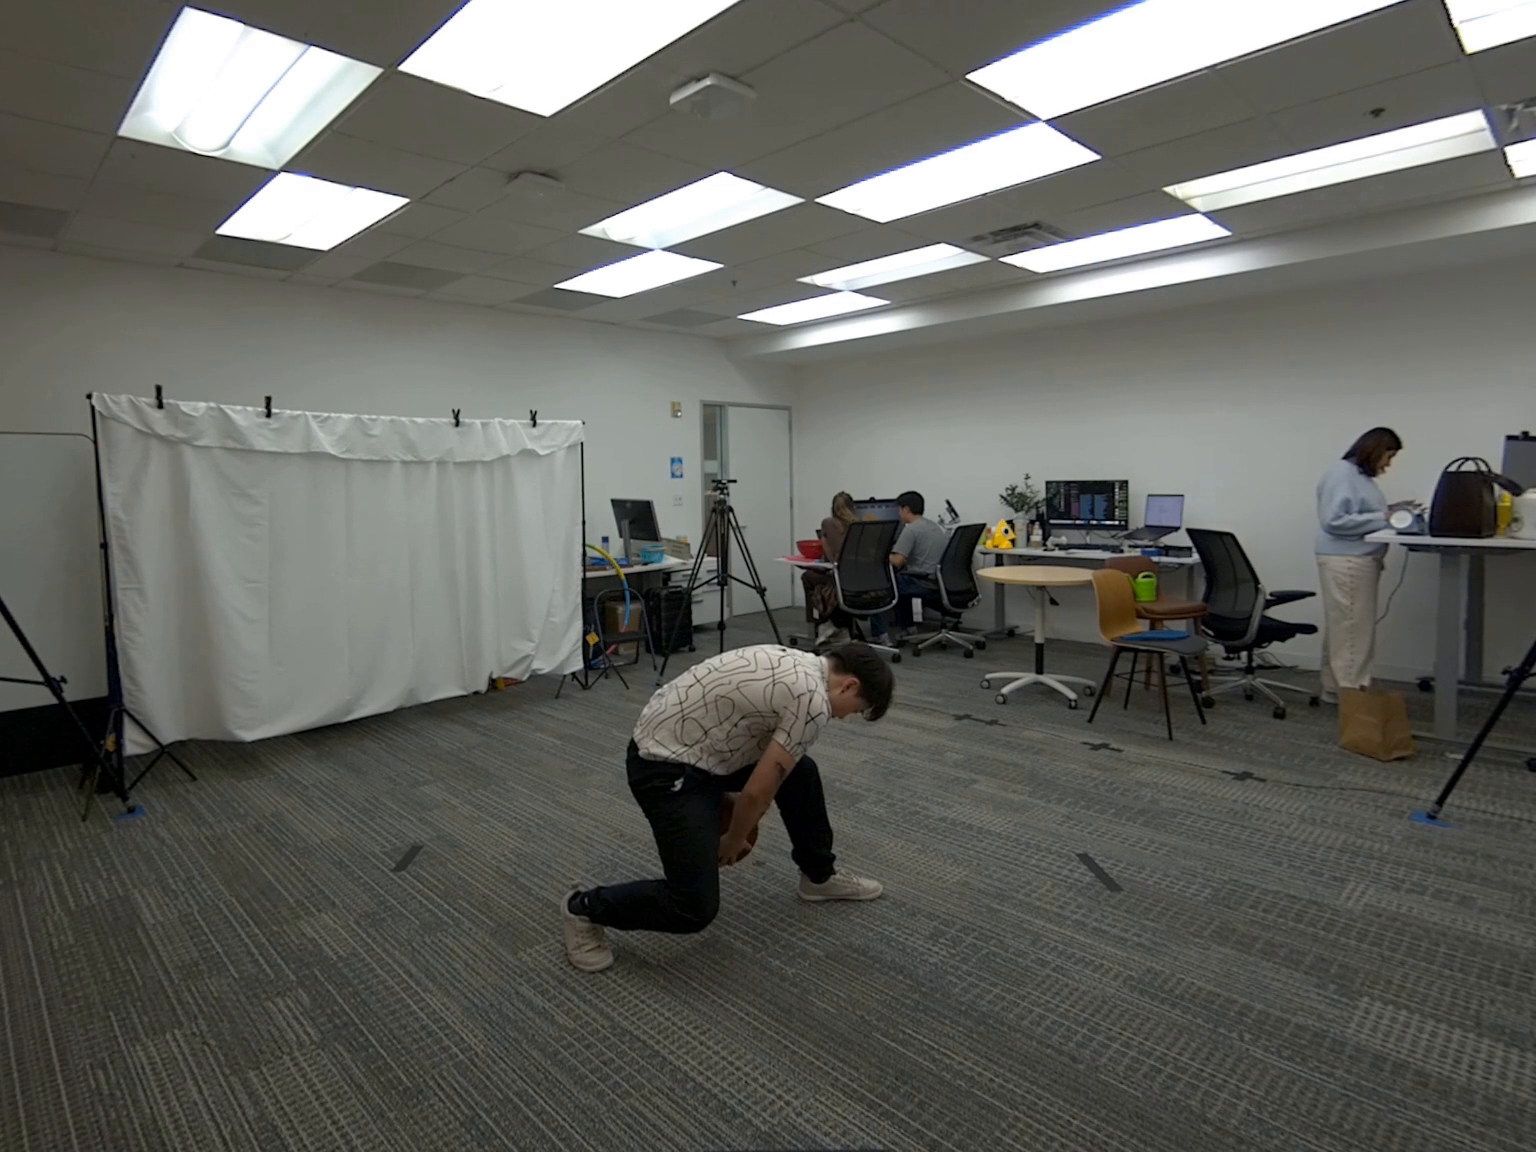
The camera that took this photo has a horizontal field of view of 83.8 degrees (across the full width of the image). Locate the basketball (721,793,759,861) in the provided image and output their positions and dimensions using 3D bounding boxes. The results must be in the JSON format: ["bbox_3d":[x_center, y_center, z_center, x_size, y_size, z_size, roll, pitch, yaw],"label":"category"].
[{"bbox_3d":[-0.137,0.821,2.829,0.236,0.235,0.237,-1,5,-2],"label":"basketball"}]
